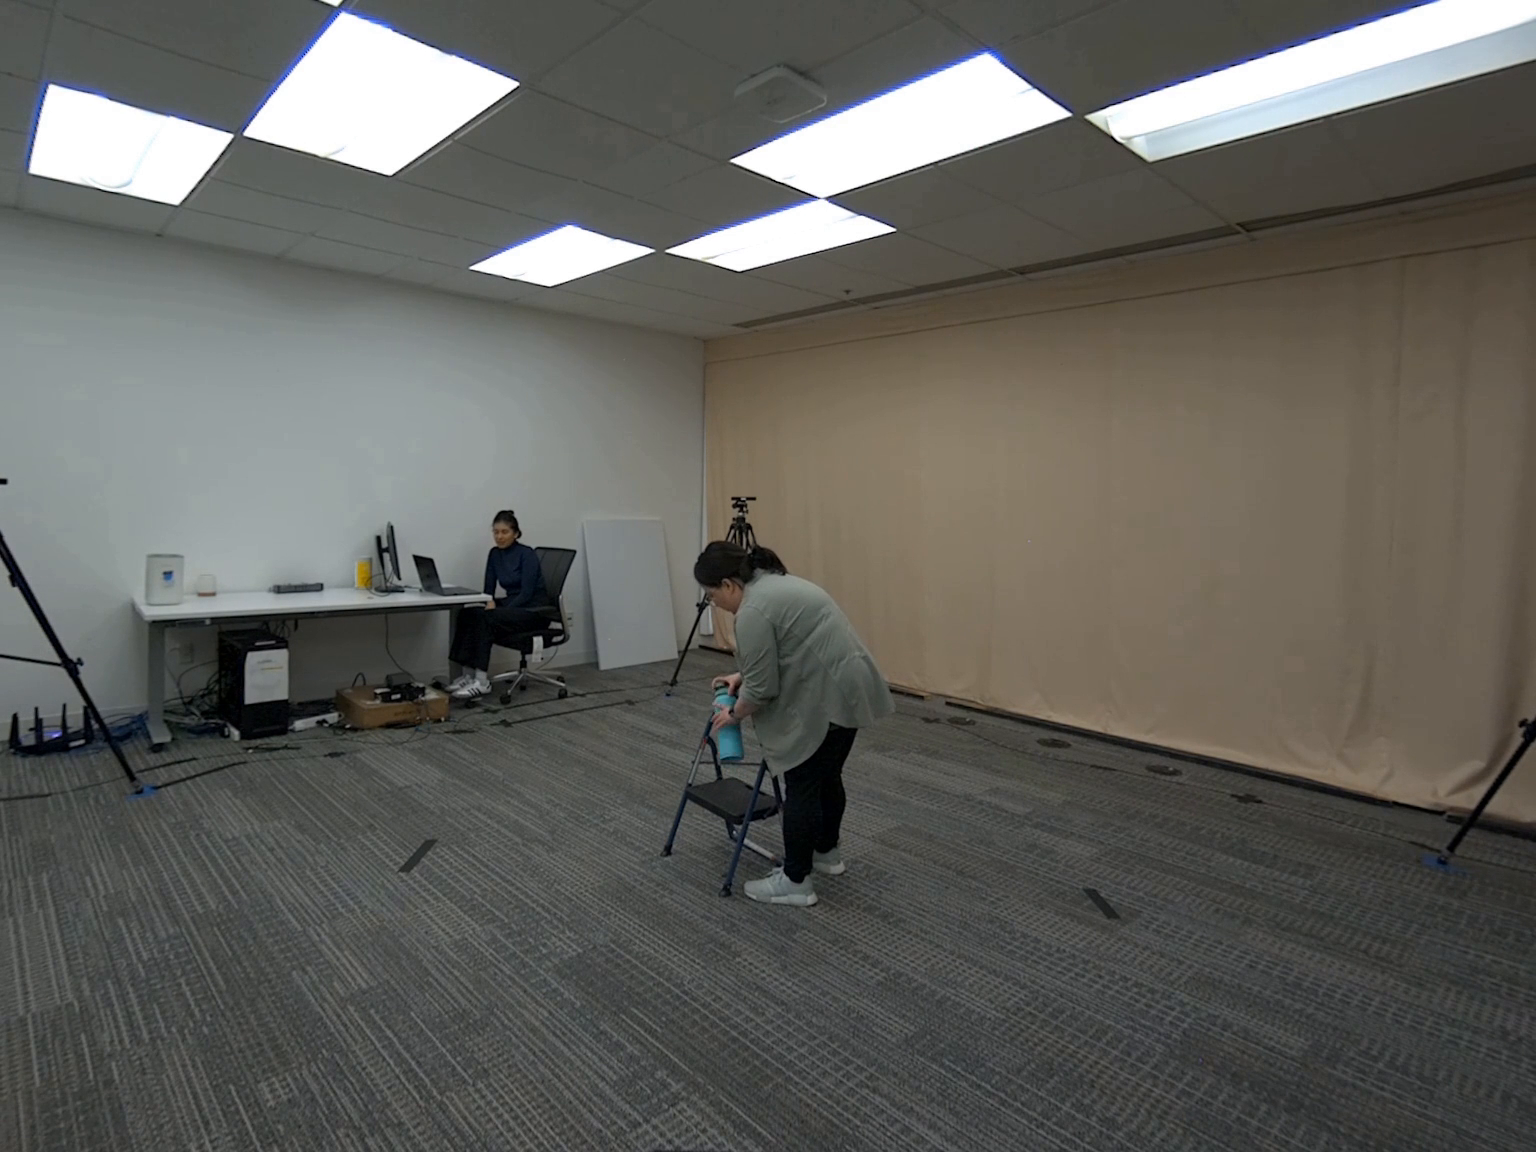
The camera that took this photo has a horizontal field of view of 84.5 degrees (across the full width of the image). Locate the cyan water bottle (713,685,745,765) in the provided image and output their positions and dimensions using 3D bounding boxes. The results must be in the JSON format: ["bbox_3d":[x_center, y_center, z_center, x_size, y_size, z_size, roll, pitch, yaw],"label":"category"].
[{"bbox_3d":[-0.150,0.537,3.089,0.092,0.287,0.091,-9,-16,-4],"label":"cyan water bottle"}]
